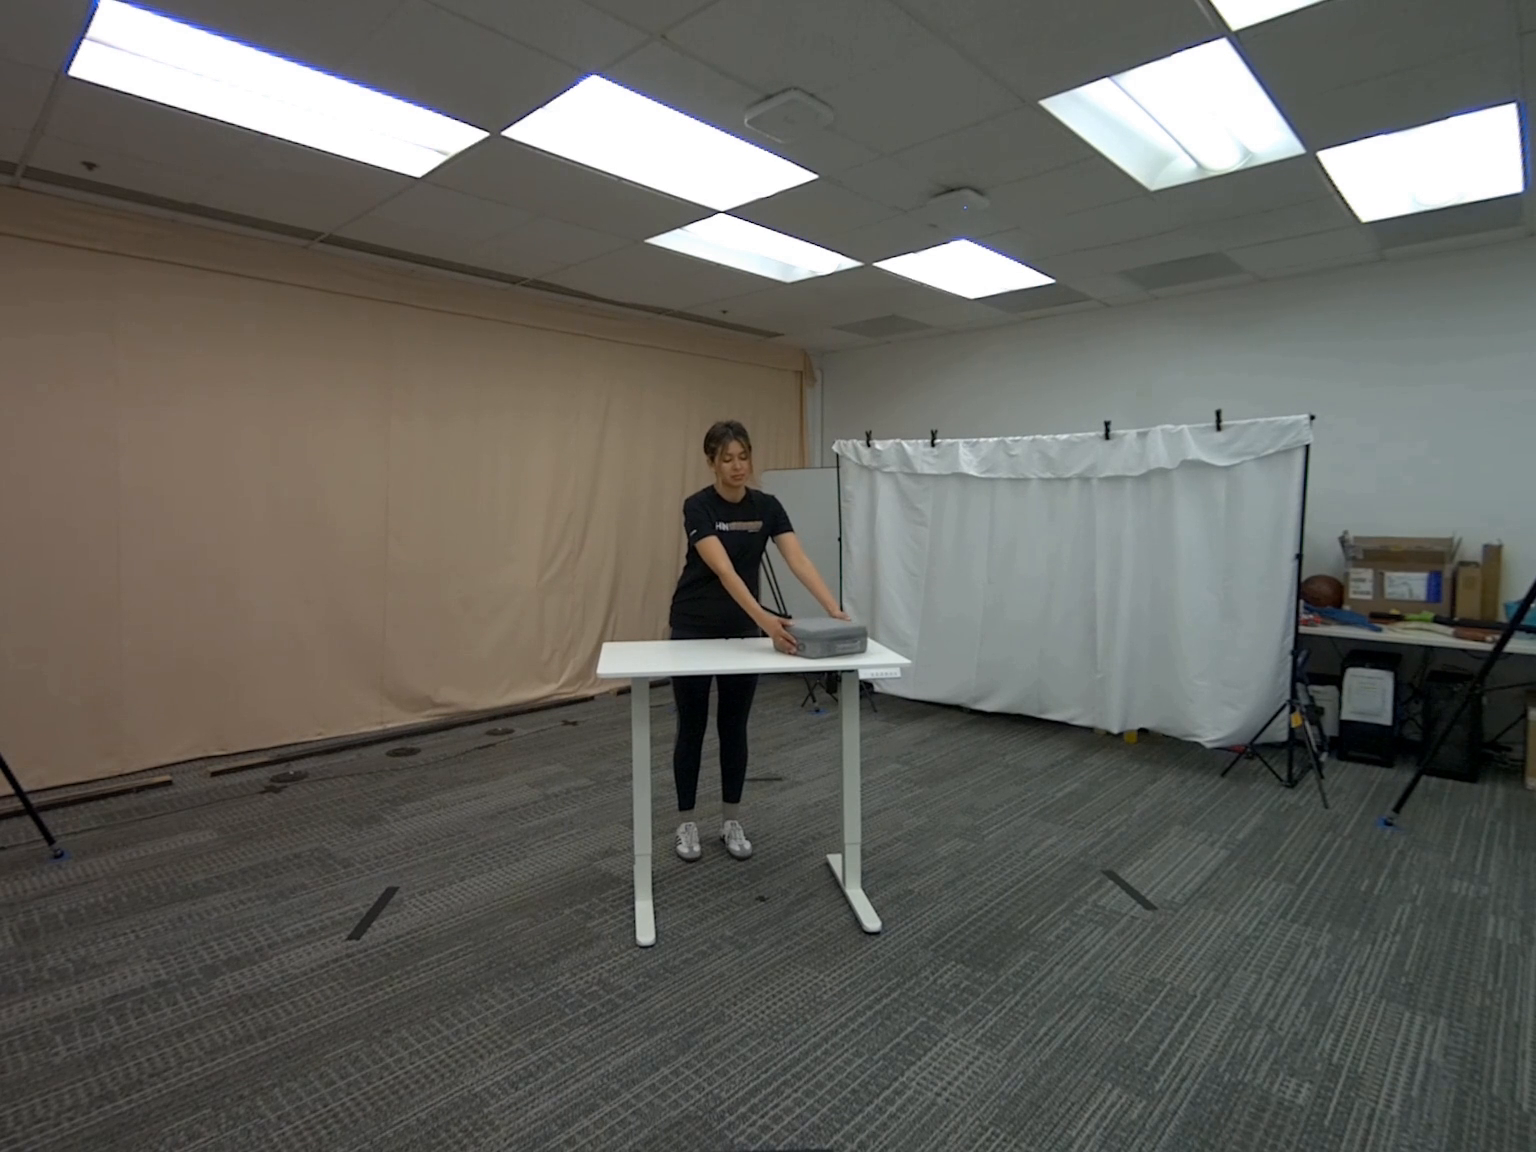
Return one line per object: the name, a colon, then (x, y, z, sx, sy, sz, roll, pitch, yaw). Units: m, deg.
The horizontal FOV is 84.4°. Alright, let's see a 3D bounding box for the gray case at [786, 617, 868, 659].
gray case: (0.187, 0.214, 2.913, 0.250, 0.104, 0.268, -3, 5, -29)
